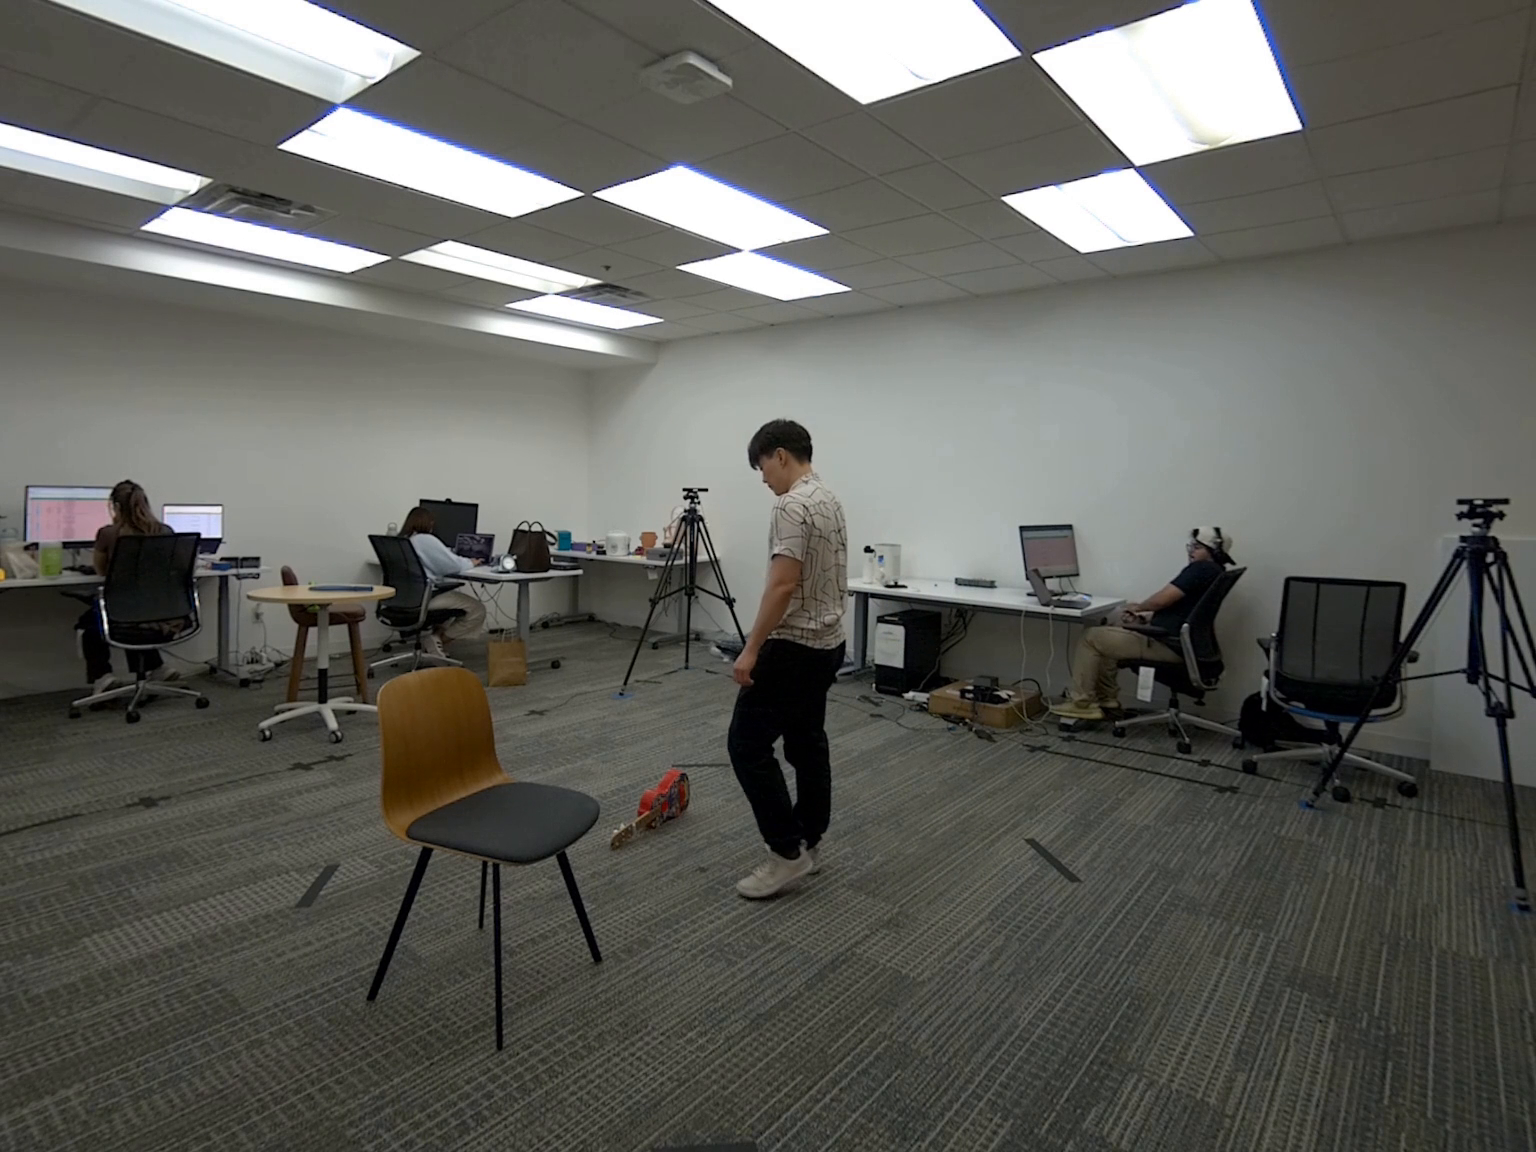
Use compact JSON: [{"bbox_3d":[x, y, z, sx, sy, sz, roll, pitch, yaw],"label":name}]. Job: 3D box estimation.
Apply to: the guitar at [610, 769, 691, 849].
[{"bbox_3d":[-0.497,0.939,3.464,0.073,0.192,0.485,8,9,32],"label":"guitar"}]
